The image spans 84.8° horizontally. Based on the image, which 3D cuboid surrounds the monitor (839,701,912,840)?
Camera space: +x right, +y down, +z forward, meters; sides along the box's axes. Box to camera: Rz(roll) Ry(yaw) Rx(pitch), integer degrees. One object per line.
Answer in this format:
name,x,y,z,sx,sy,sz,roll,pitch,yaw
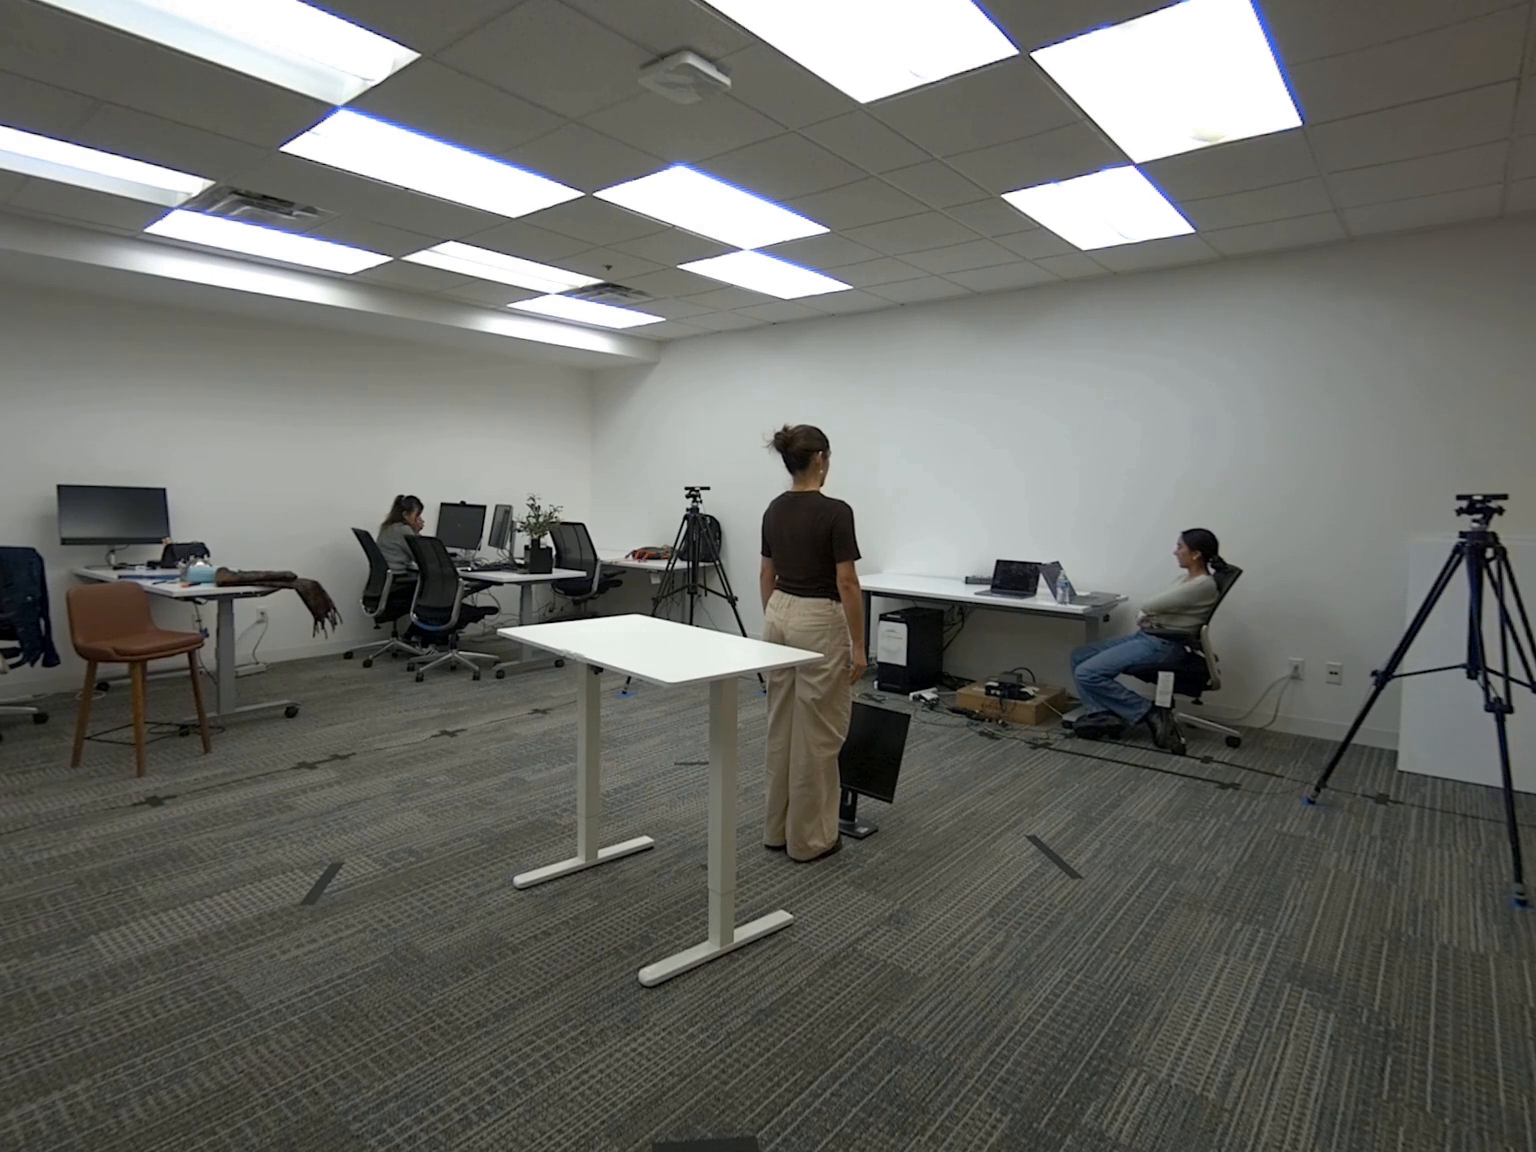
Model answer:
monitor,0.327,0.780,3.538,0.557,0.523,0.181,6,0,39
